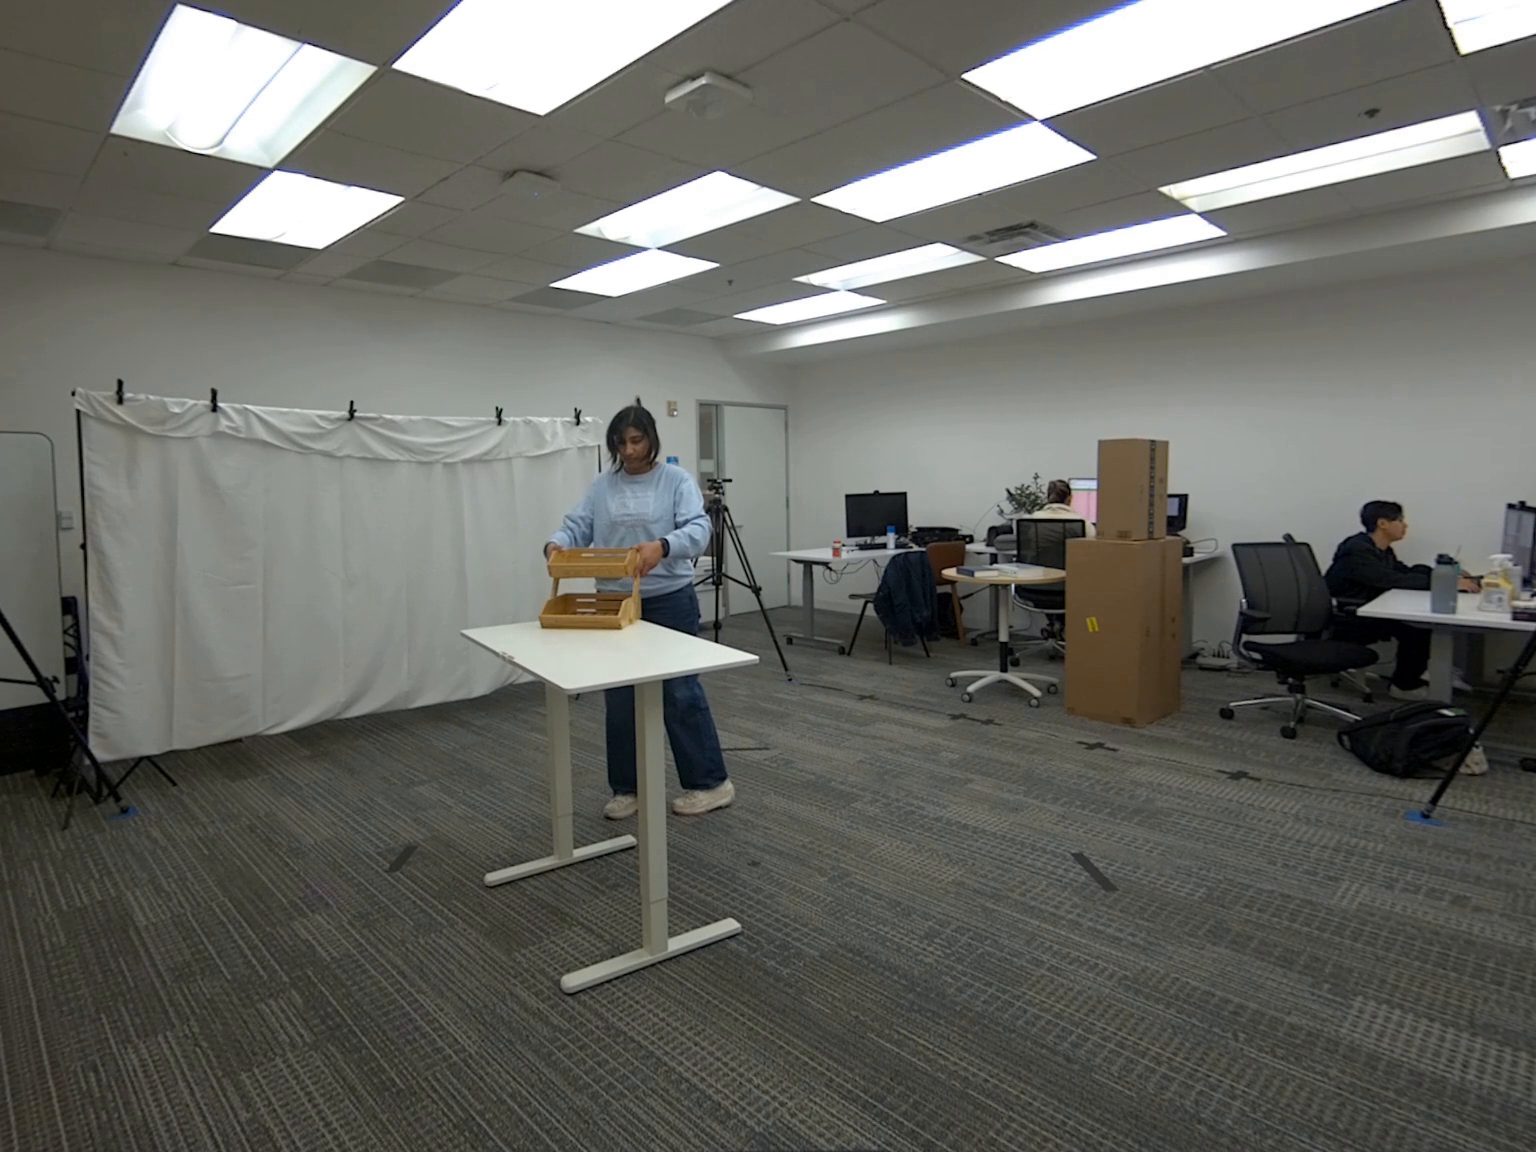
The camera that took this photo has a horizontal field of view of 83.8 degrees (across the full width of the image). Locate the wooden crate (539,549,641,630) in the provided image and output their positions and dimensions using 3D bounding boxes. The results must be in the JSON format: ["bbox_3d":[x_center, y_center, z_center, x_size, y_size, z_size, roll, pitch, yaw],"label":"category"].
[{"bbox_3d":[-0.642,0.036,3.113,0.327,0.272,0.300,0,4,9],"label":"wooden crate"}]
